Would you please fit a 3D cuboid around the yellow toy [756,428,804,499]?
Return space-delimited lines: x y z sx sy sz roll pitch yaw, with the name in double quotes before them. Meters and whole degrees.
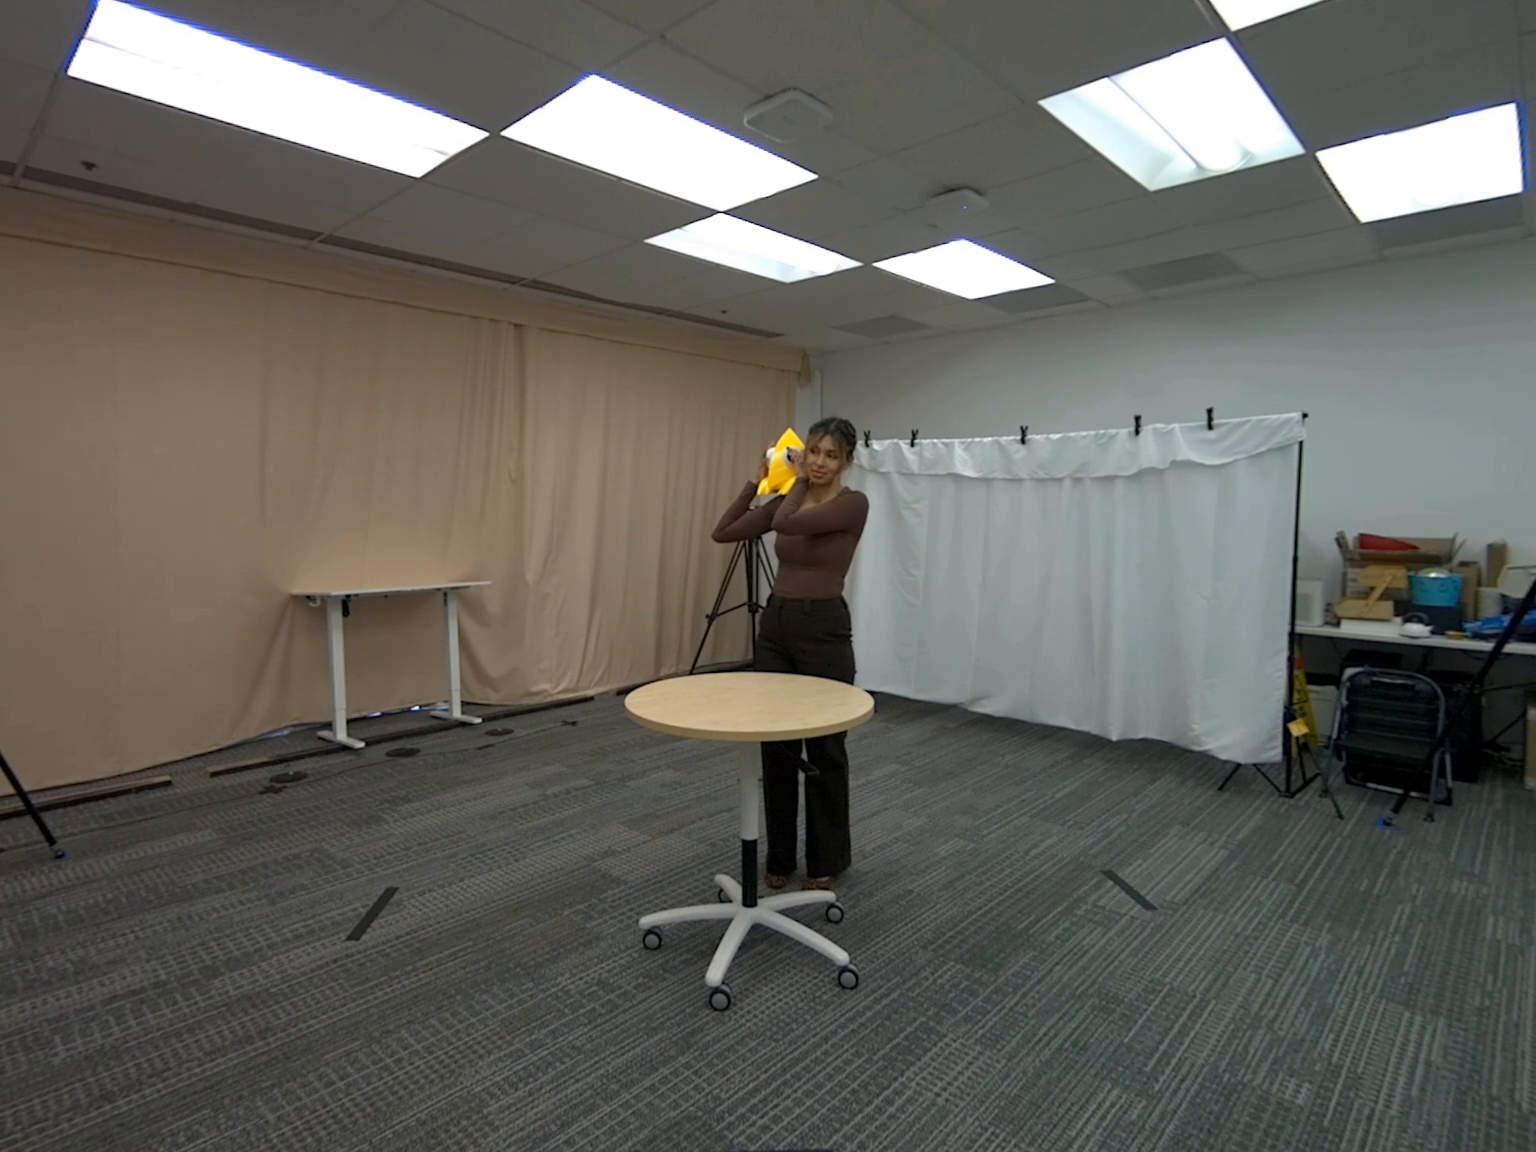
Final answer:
"yellow toy" 0.055 -0.435 3.173 0.188 0.229 0.211 -17 14 -42
